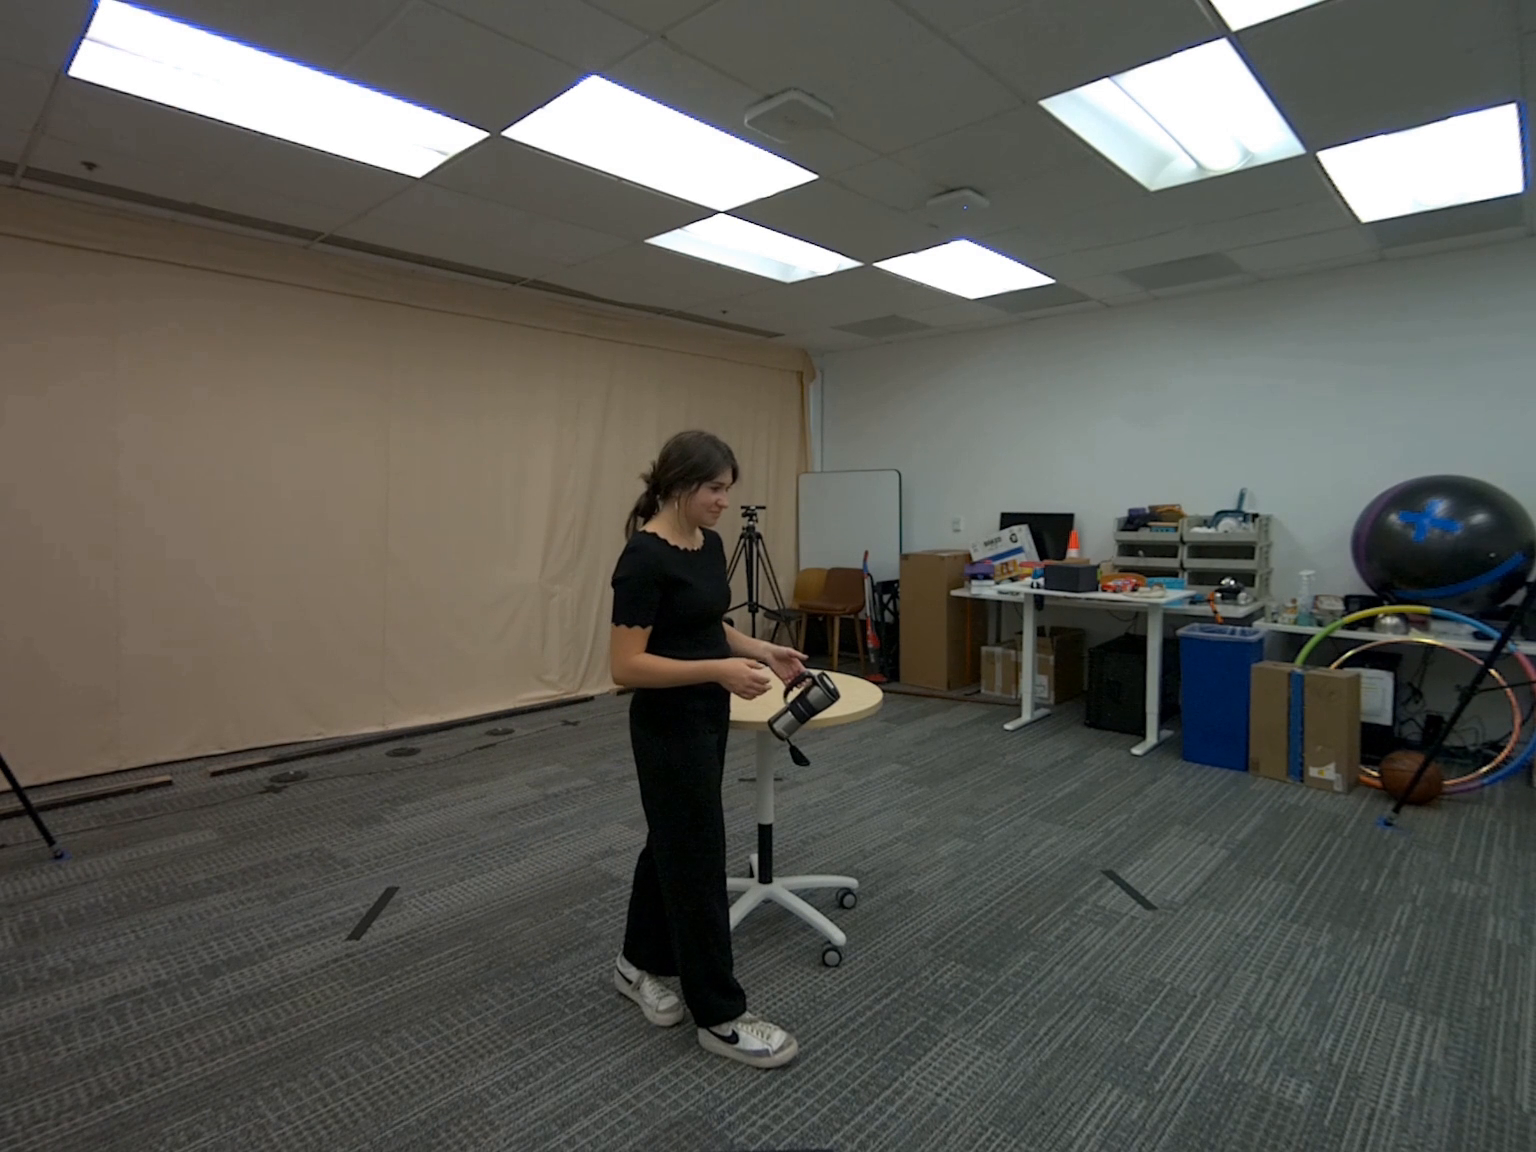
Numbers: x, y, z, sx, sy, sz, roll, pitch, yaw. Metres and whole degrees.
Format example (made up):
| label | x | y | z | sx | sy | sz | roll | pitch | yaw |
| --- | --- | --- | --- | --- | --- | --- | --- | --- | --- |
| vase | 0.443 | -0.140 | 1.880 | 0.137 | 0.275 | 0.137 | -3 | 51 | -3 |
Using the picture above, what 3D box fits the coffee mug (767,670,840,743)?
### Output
| label | x | y | z | sx | sy | sz | roll | pitch | yaw |
| --- | --- | --- | --- | --- | --- | --- | --- | --- | --- |
| coffee mug | 0.085 | 0.337 | 2.247 | 0.204 | 0.123 | 0.087 | -40 | -7 | 11 |
